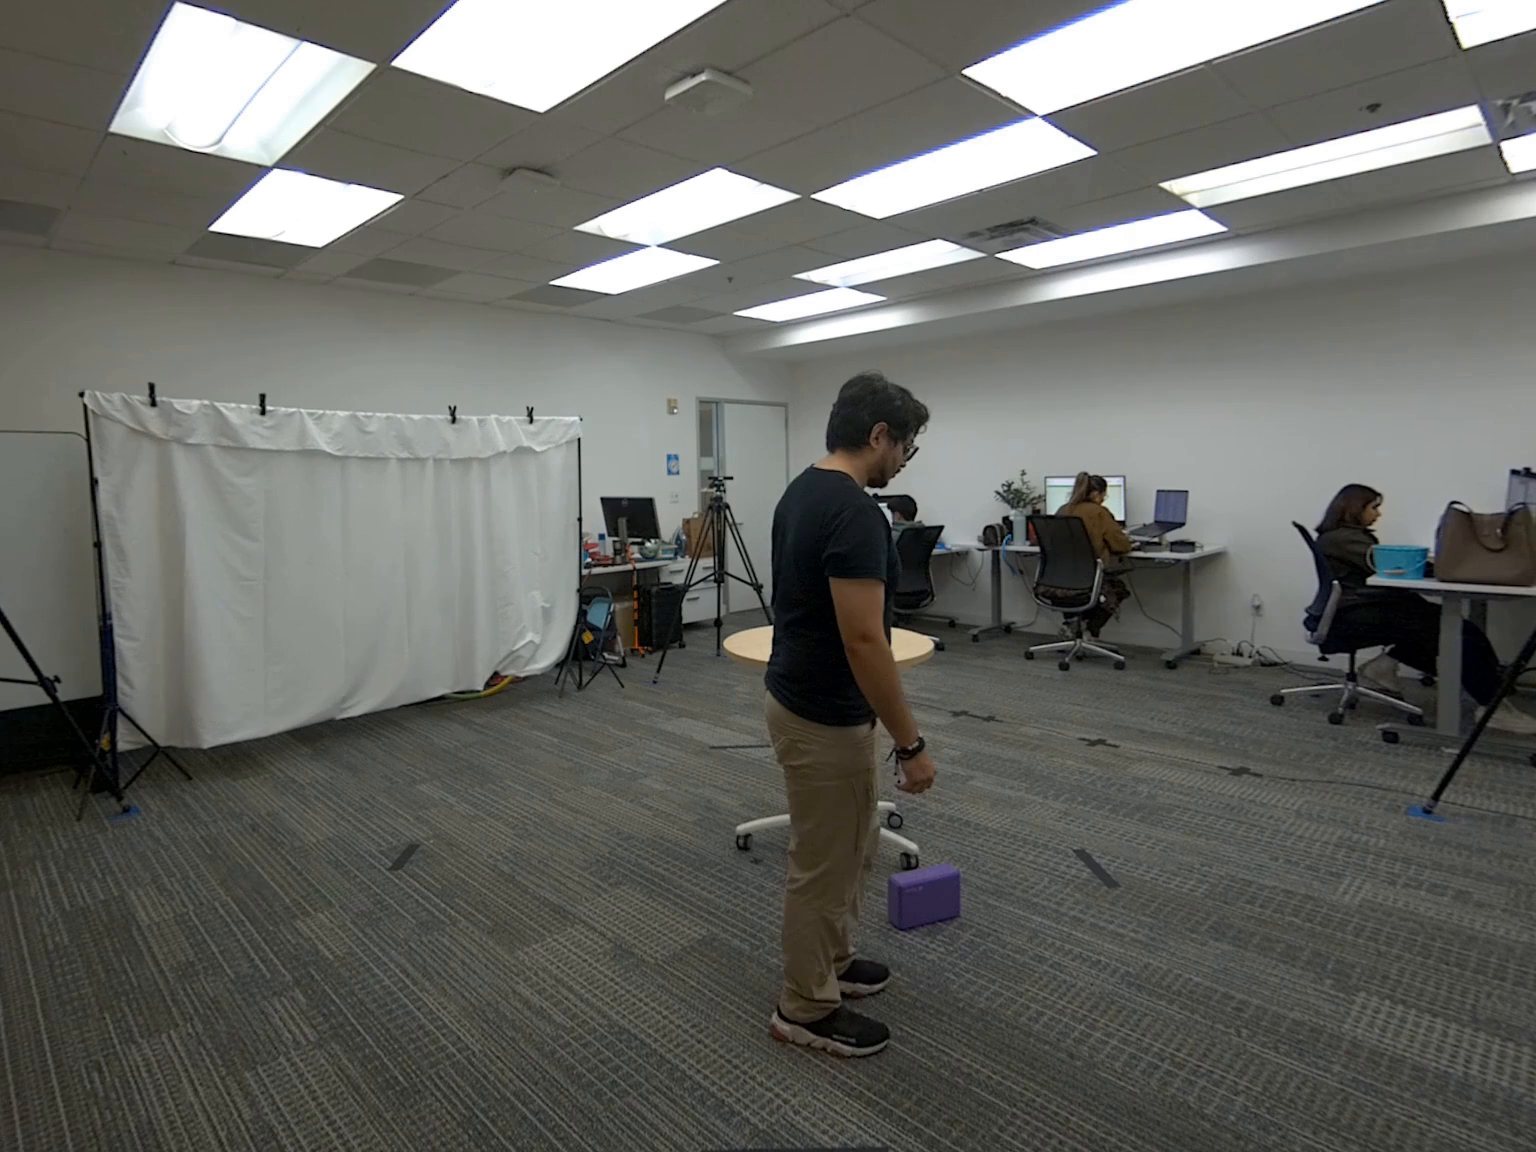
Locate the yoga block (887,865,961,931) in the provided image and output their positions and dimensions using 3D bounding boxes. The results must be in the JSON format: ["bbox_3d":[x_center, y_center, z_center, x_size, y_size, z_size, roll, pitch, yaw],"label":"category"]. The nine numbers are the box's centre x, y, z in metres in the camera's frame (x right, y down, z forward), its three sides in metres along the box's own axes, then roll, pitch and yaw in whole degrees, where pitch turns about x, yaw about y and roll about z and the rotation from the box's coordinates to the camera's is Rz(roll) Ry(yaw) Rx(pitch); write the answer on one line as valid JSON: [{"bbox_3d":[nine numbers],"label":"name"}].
[{"bbox_3d":[0.496,1.001,2.674,0.225,0.149,0.078,-3,3,-22],"label":"yoga block"}]
